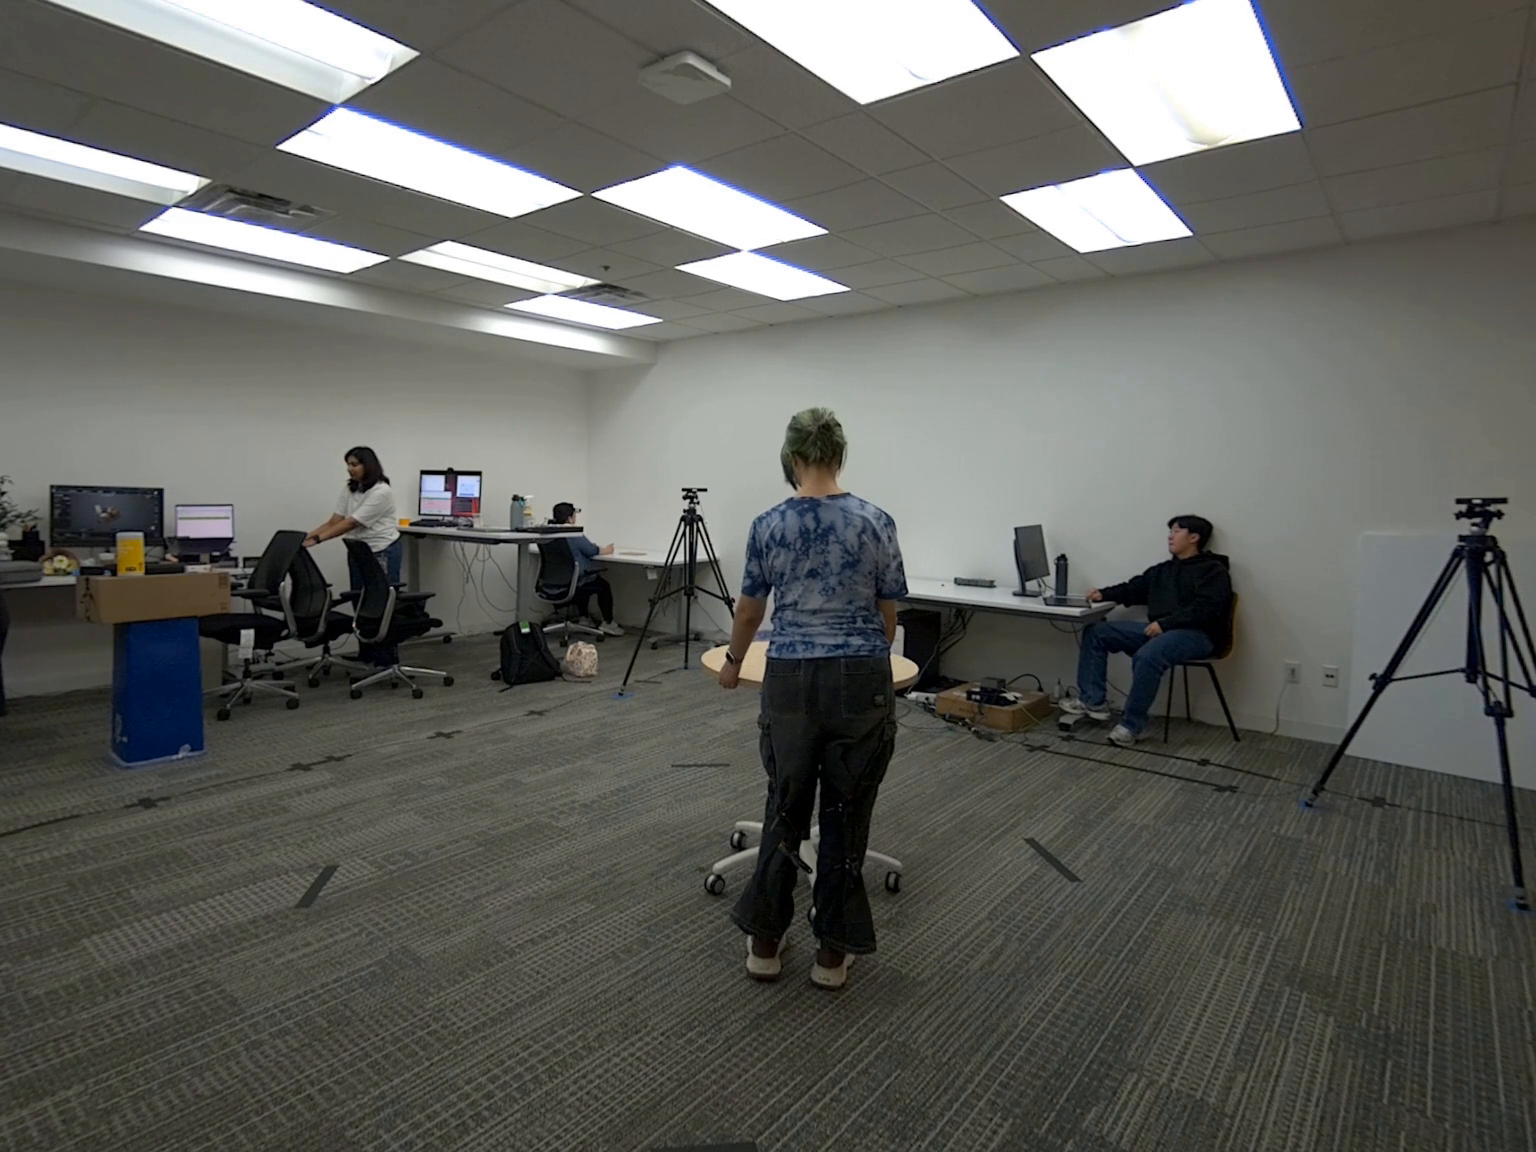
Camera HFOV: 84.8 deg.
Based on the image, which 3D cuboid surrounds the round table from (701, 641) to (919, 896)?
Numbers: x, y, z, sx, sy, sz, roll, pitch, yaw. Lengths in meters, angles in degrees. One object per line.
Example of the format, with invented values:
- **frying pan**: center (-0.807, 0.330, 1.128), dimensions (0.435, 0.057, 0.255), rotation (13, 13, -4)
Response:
- **round table**: center (0.118, 0.692, 3.051), dimensions (0.763, 0.791, 0.768), rotation (1, 4, -2)
